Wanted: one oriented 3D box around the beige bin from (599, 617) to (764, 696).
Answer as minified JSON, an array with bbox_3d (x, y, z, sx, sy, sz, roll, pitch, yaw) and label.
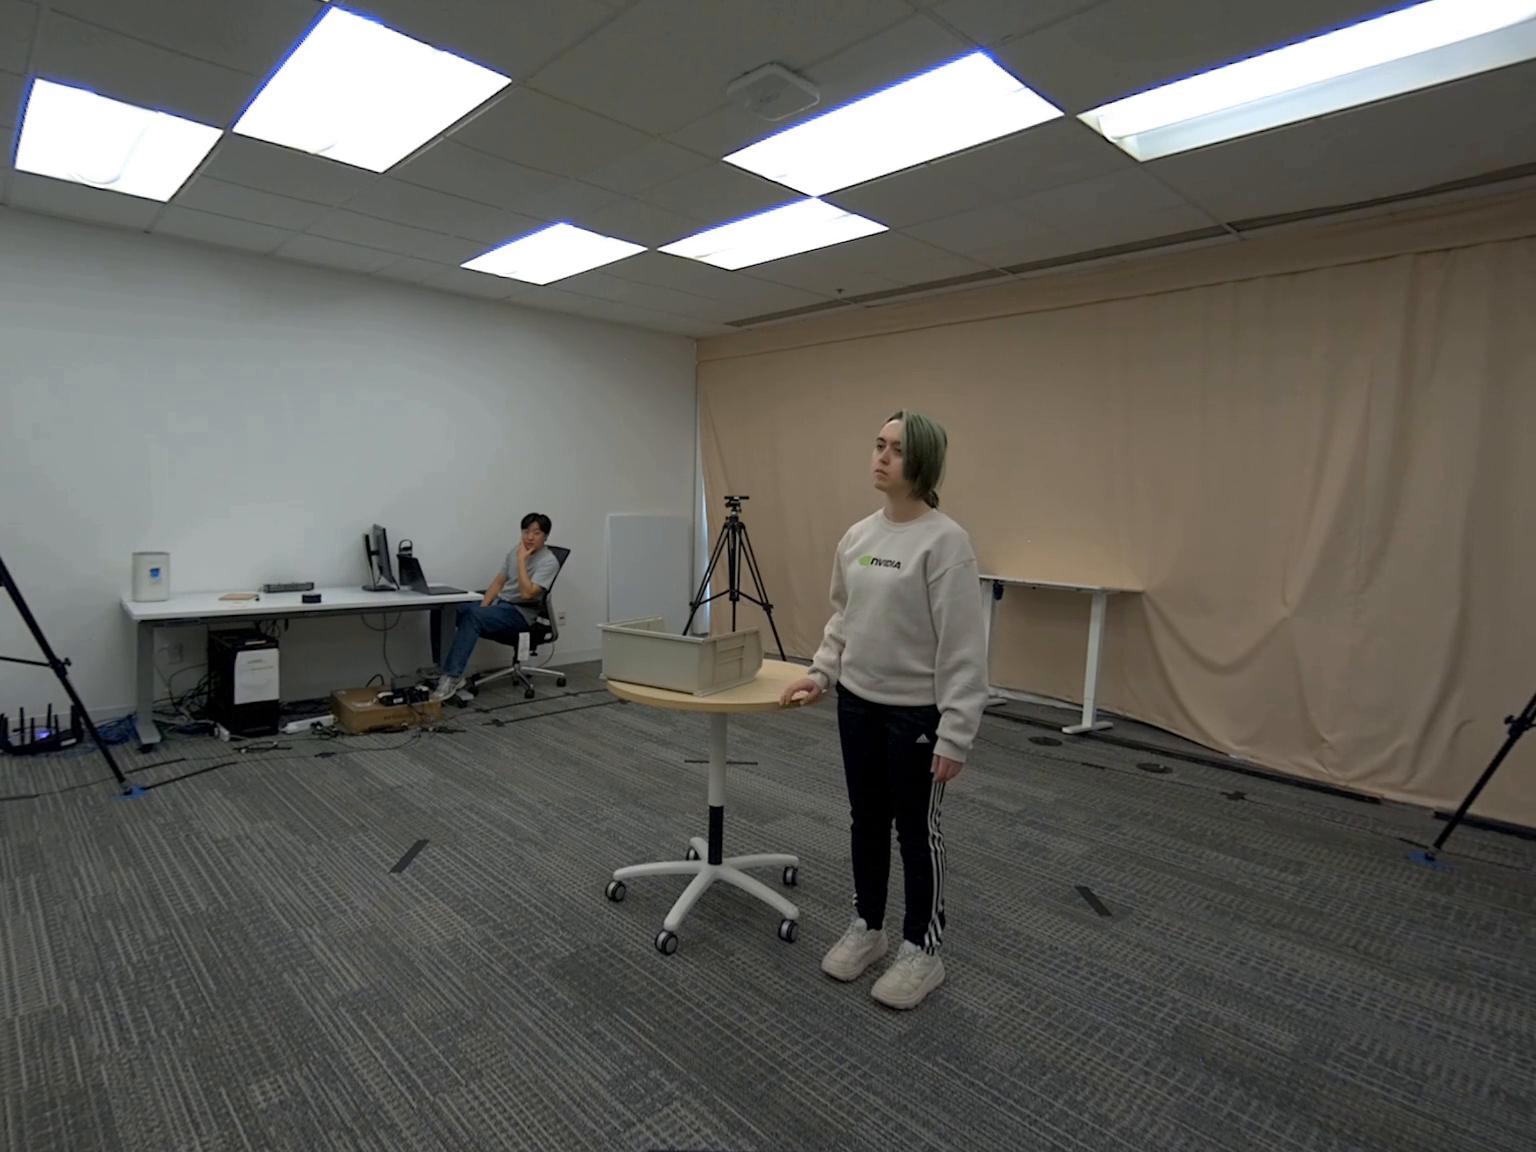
[{"bbox_3d":[-0.291,0.256,2.789,0.432,0.188,0.370,5,7,31],"label":"beige bin"}]
